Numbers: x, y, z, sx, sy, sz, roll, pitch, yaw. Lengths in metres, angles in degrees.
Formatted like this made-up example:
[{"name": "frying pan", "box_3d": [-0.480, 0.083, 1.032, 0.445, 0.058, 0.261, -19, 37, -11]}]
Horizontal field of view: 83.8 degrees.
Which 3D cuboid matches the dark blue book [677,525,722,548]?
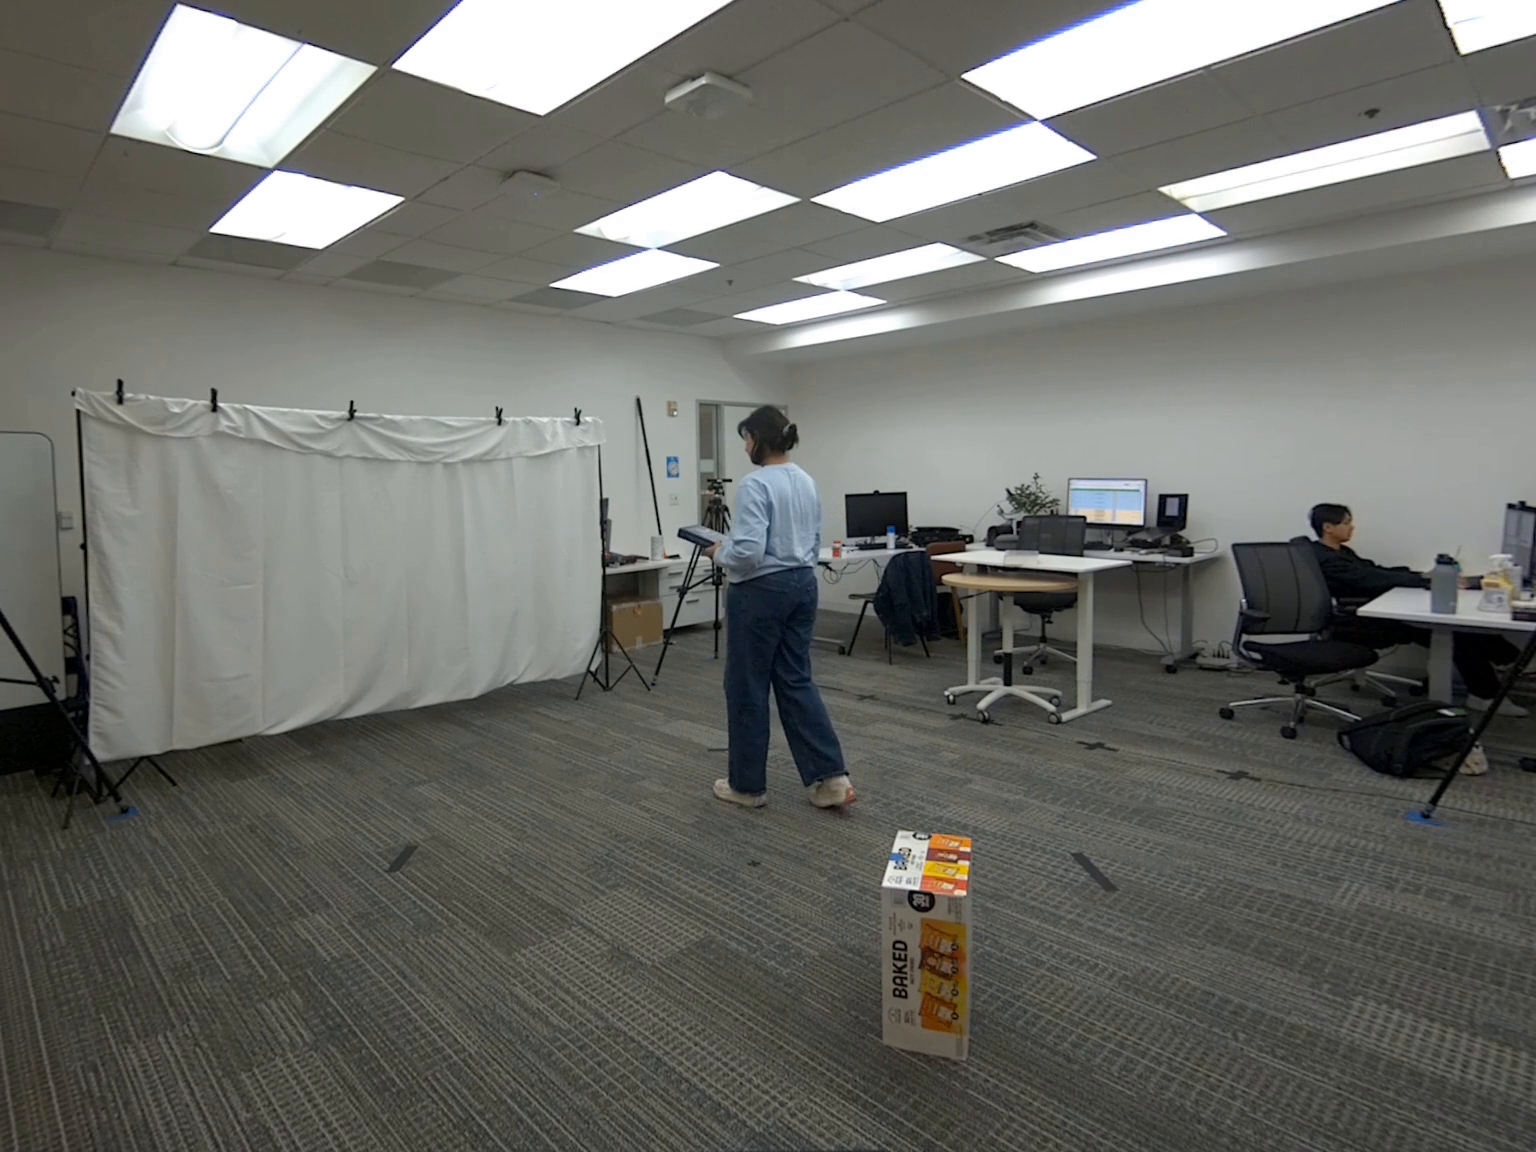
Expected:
[{"name": "dark blue book", "box_3d": [-0.257, -0.163, 3.803, 0.249, 0.045, 0.162, 17, 13, 14]}]
